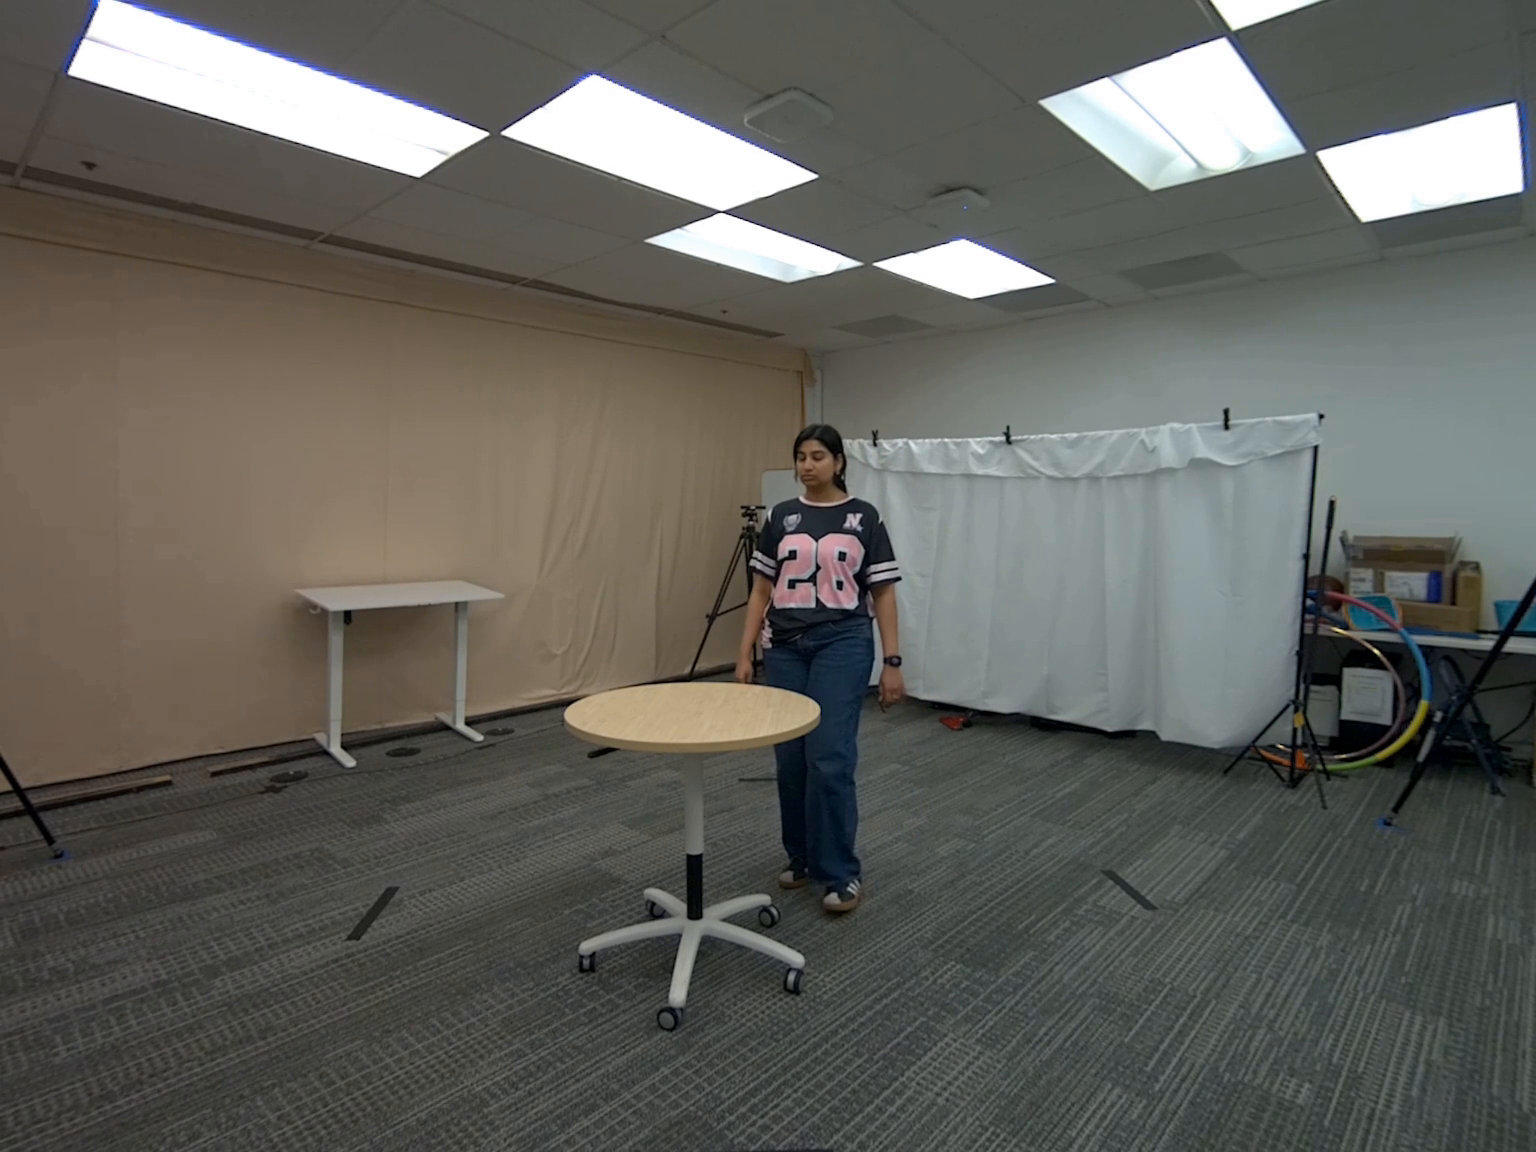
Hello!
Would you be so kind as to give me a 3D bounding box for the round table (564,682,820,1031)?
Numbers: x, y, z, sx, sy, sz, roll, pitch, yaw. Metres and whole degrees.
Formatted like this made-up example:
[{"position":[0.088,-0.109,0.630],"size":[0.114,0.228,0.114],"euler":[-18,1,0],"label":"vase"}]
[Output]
[{"position":[-0.210,0.789,2.559],"size":[0.784,0.784,0.788],"euler":[-1,4,-2],"label":"round table"}]
